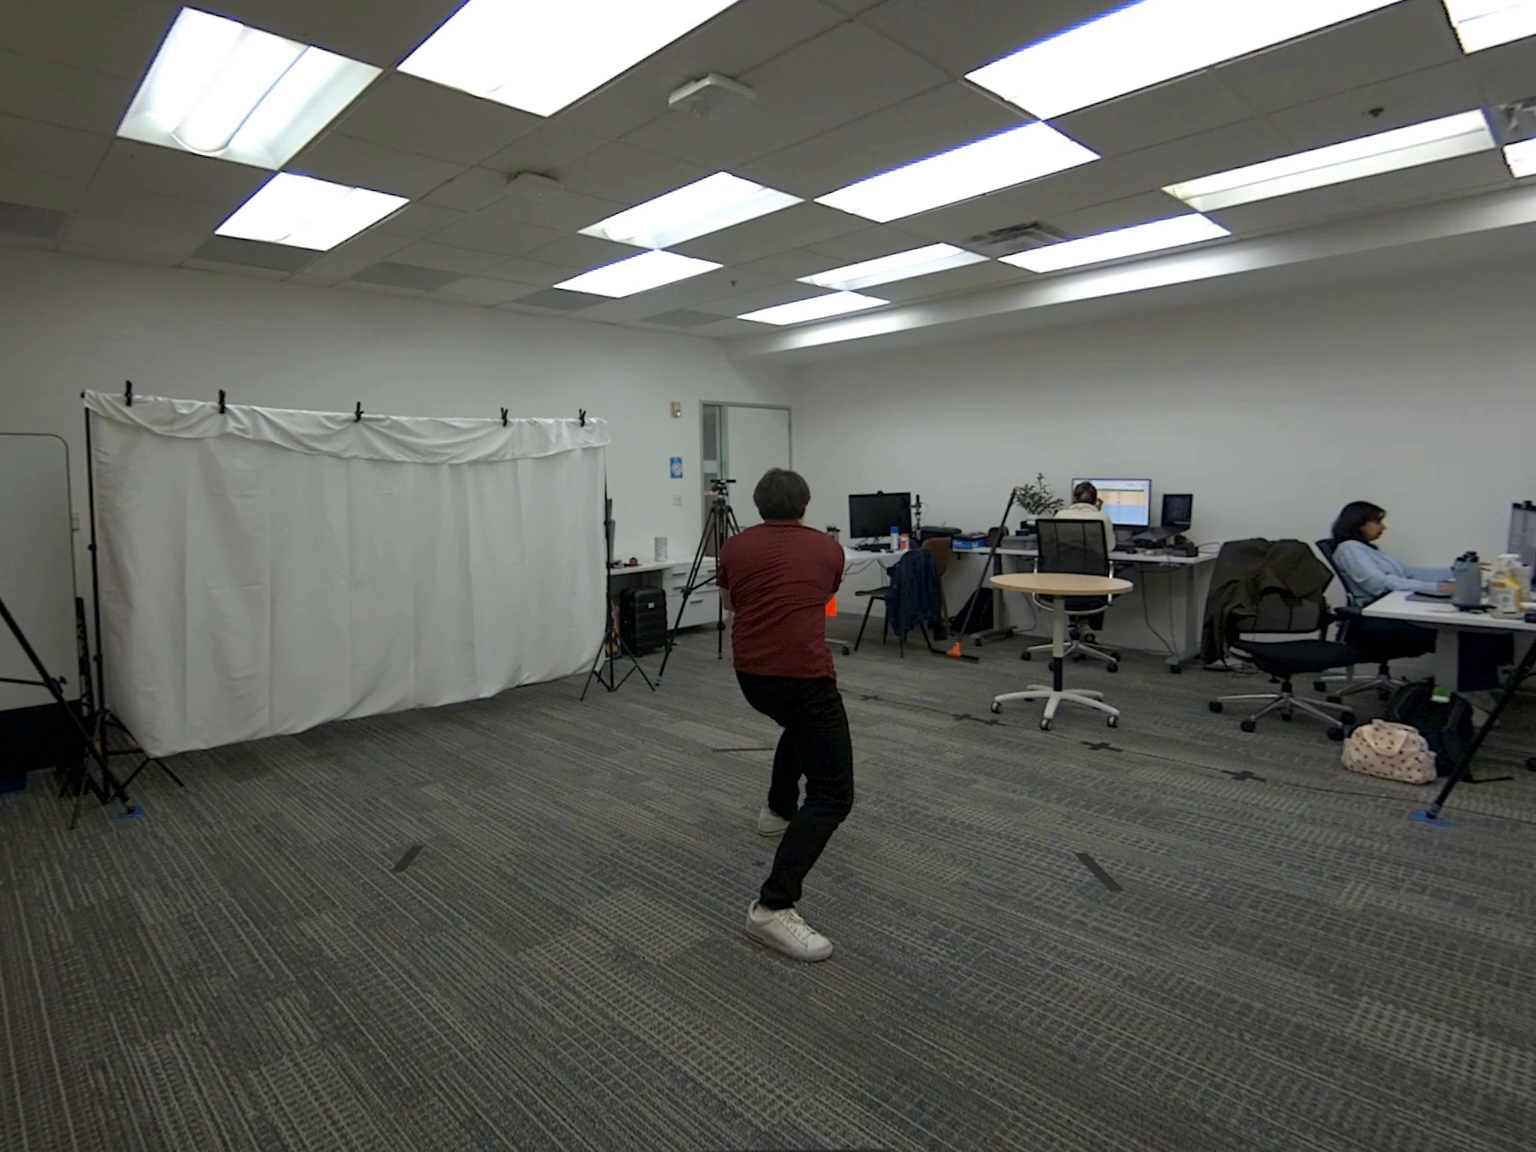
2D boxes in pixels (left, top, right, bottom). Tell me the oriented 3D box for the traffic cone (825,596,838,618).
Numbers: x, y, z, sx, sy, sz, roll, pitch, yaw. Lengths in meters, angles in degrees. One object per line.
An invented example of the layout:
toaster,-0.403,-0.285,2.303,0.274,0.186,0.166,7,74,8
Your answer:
traffic cone,0.105,0.117,3.676,0.210,0.202,0.377,8,19,38
